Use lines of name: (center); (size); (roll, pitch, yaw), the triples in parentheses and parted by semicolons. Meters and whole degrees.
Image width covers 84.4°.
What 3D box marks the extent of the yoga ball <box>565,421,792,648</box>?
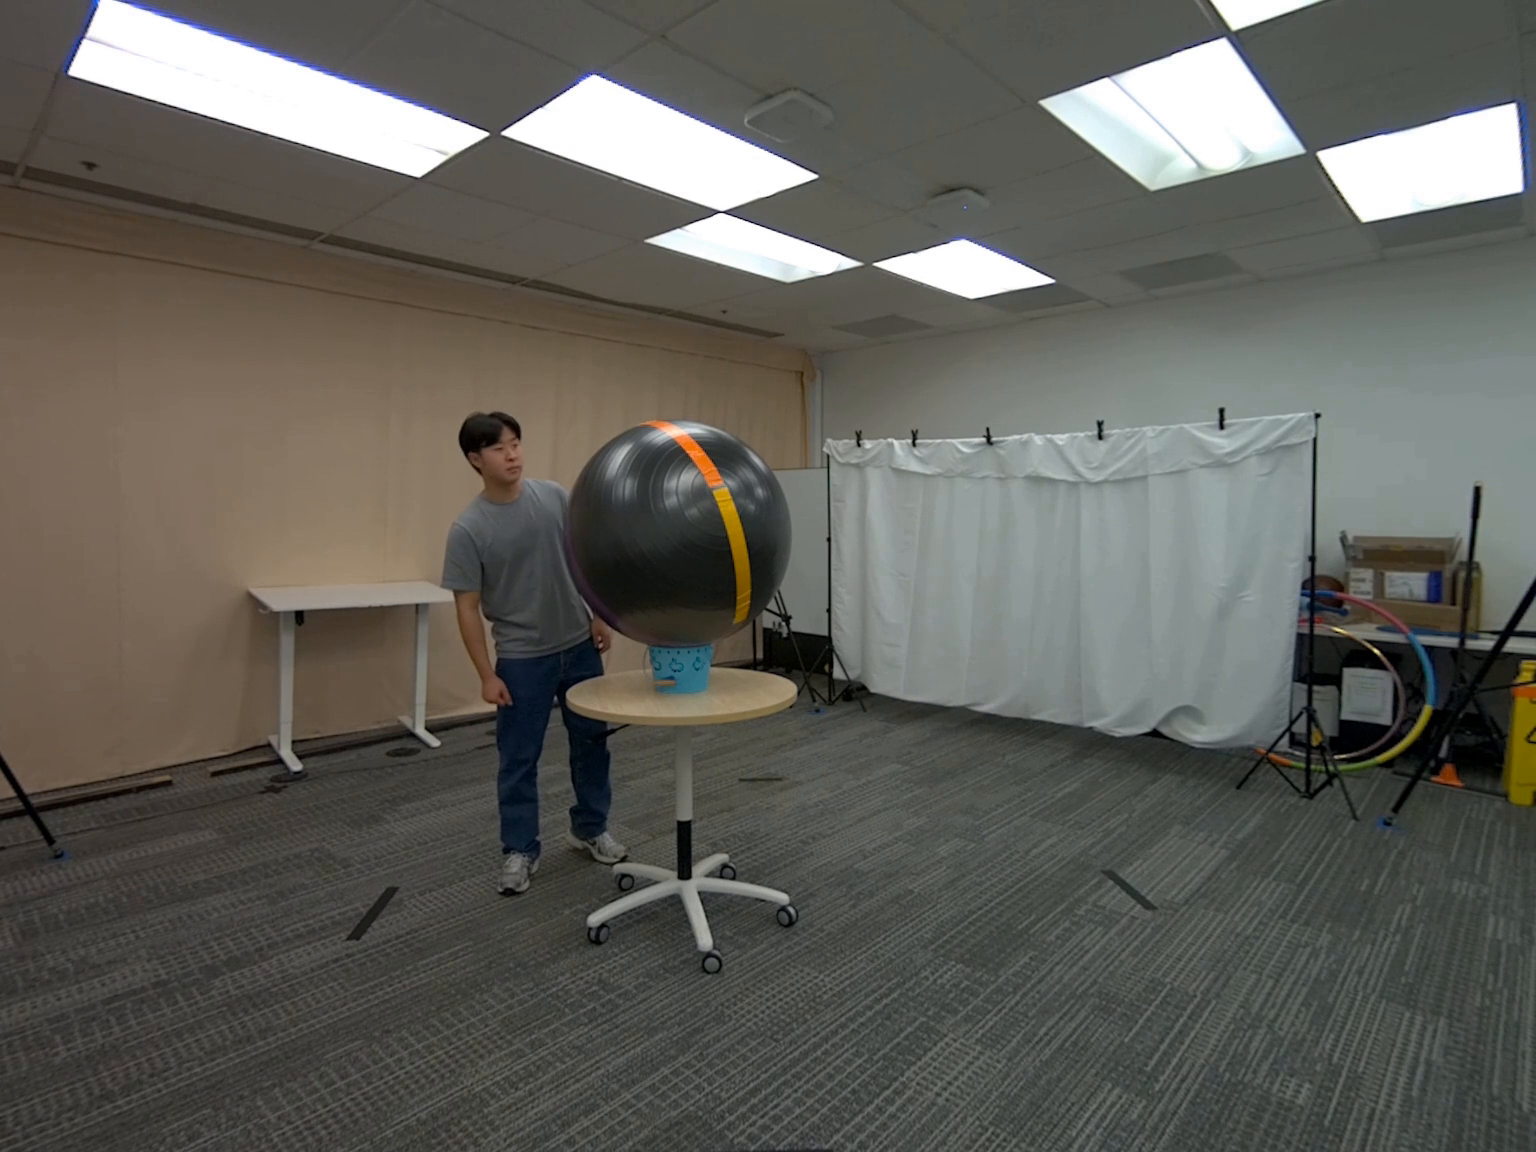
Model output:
yoga ball: (-0.299, -0.136, 2.808); (0.757, 0.756, 0.760); (0, 4, -2)
